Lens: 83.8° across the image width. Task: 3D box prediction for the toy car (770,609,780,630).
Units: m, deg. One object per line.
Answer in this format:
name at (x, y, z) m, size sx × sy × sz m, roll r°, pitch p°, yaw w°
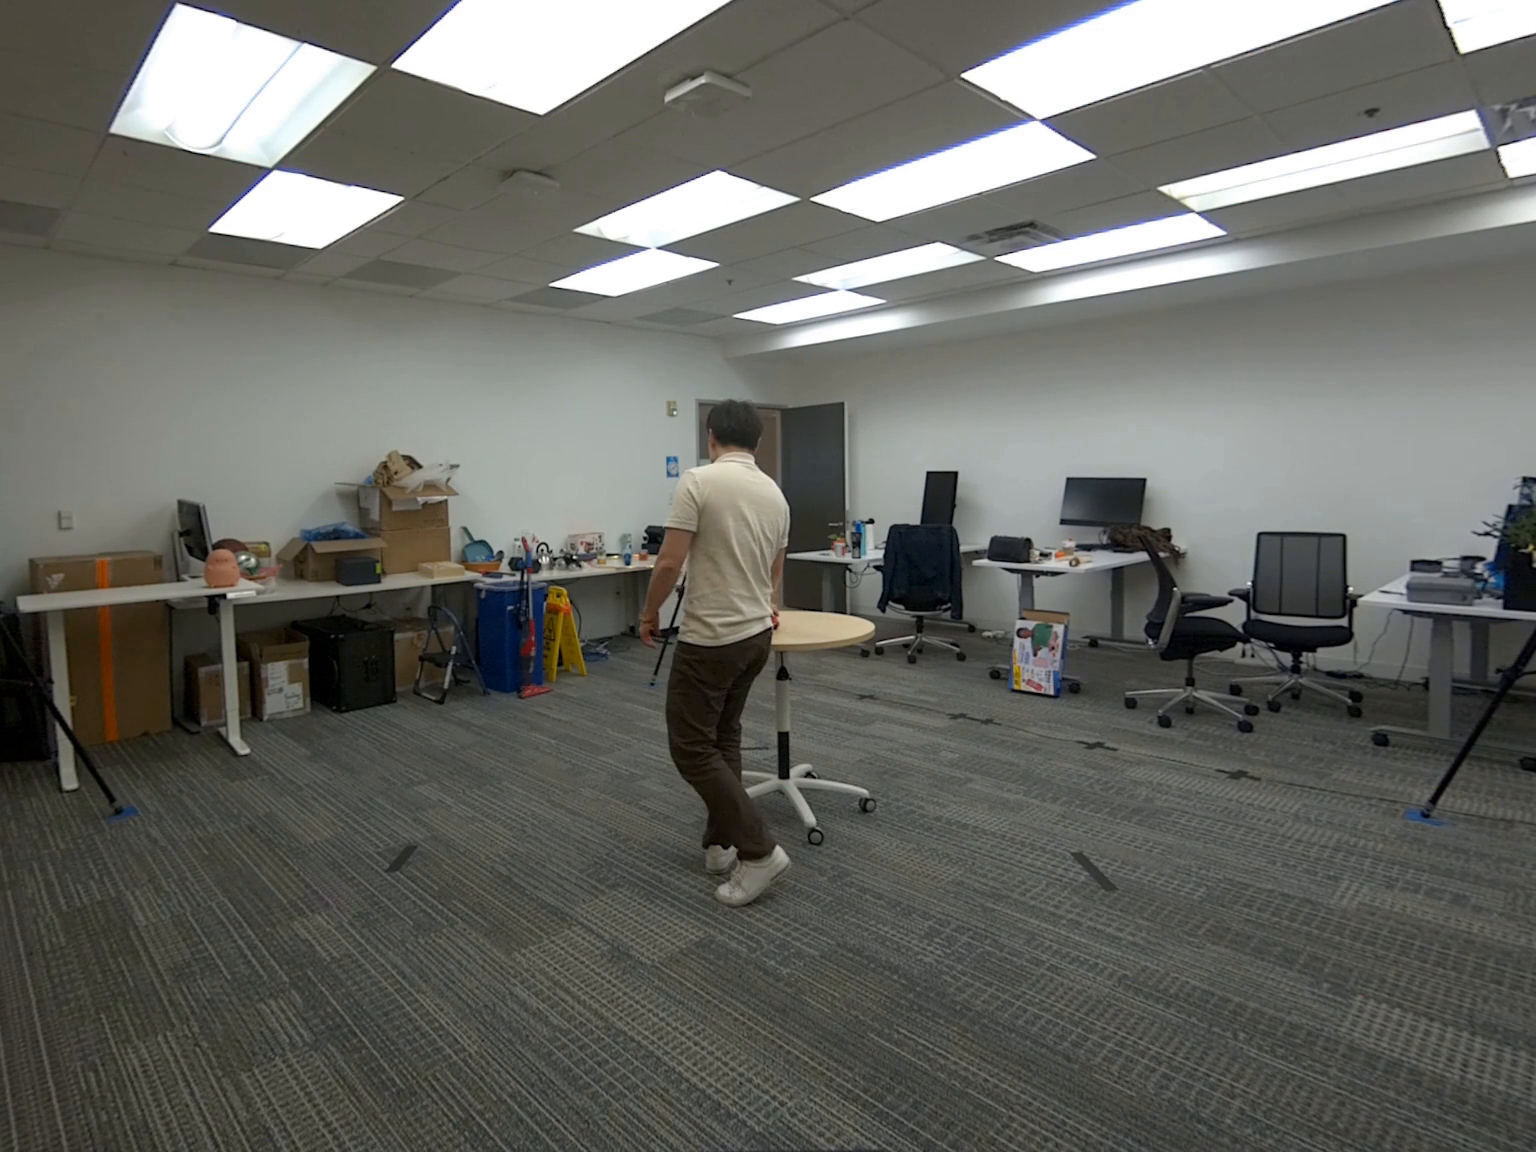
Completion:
toy car at (-0.033, 0.172, 3.571) m, size 0.129 × 0.082 × 0.261 m, roll -4°, pitch 18°, yaw -11°
